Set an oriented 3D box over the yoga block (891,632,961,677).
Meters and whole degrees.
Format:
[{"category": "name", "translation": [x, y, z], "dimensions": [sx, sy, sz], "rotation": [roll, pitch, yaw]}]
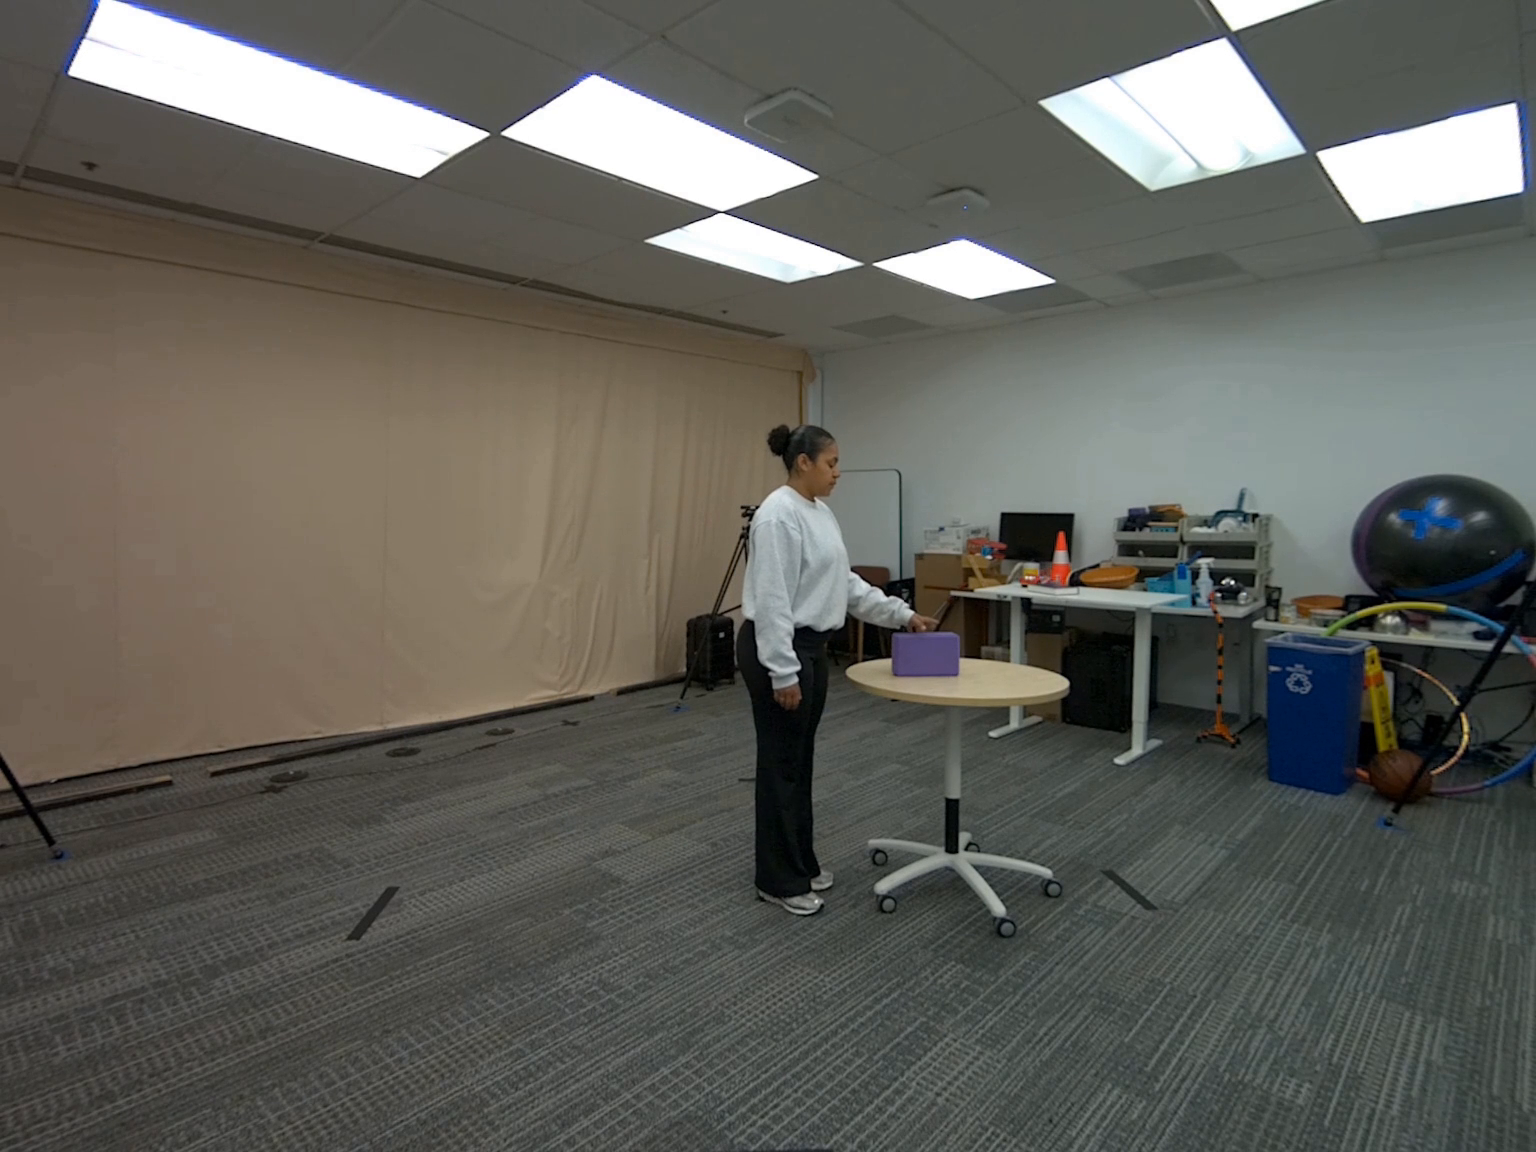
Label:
[{"category": "yoga block", "translation": [0.569, 0.284, 3.020], "dimensions": [0.229, 0.149, 0.076], "rotation": [0, 0, -2]}]
